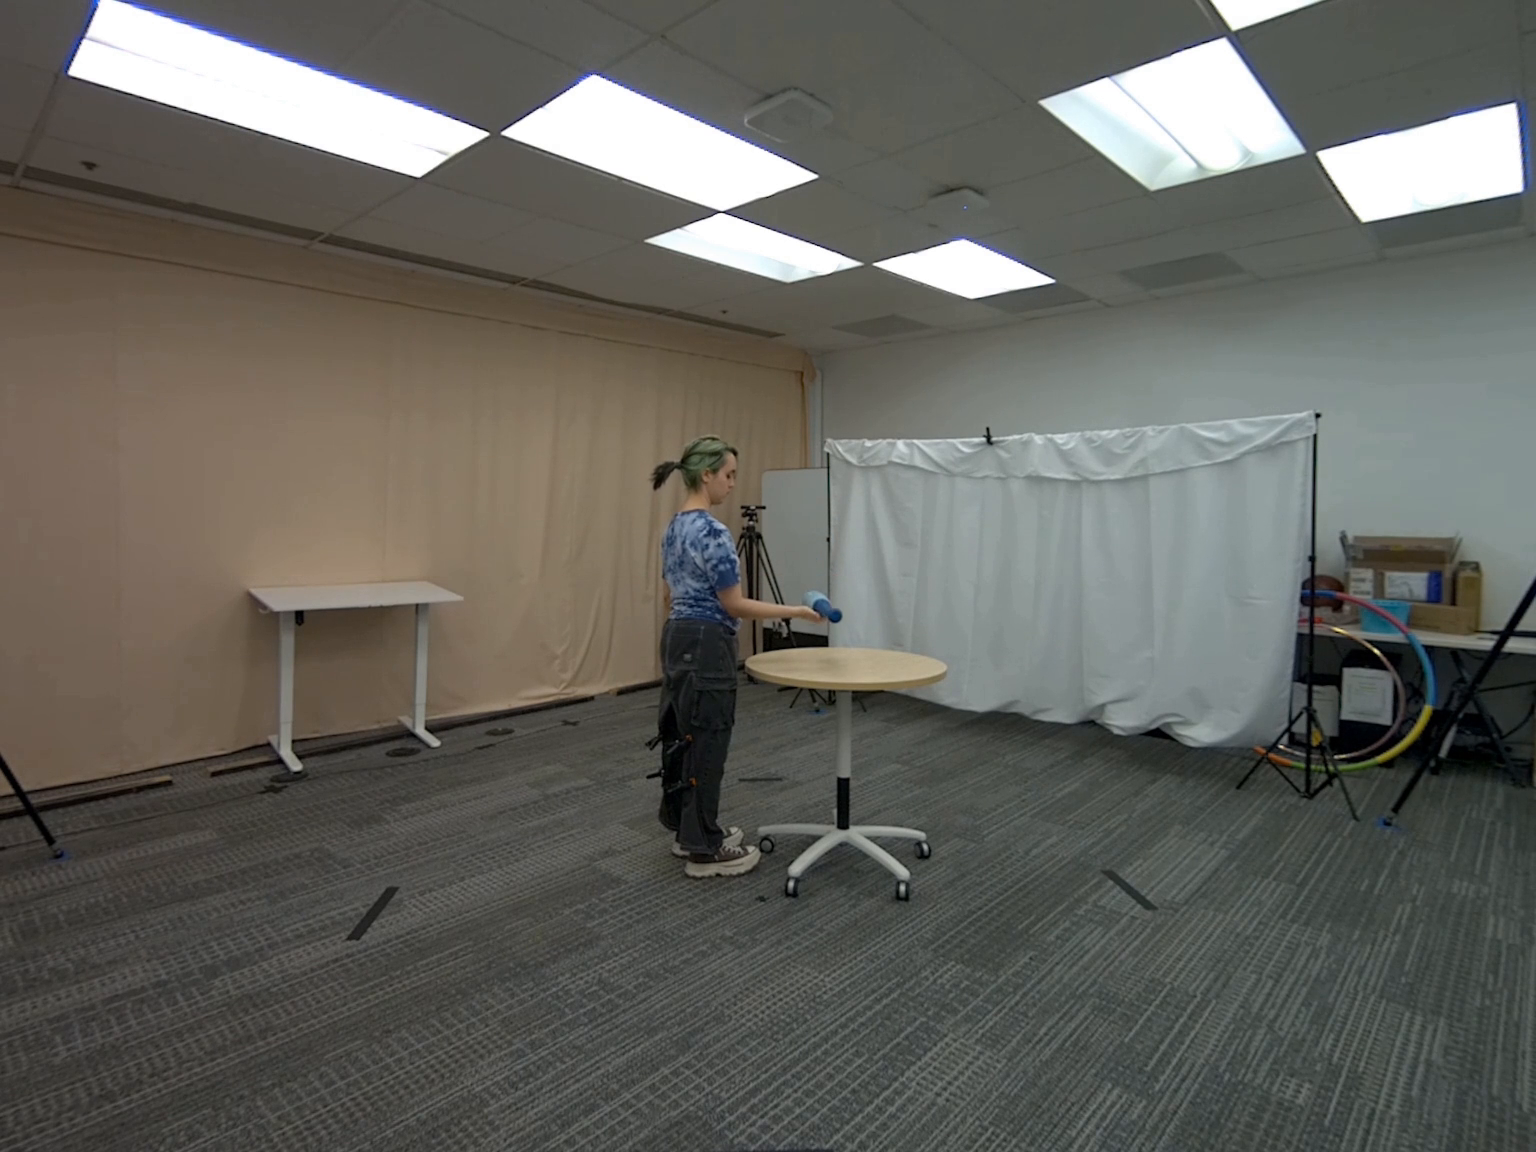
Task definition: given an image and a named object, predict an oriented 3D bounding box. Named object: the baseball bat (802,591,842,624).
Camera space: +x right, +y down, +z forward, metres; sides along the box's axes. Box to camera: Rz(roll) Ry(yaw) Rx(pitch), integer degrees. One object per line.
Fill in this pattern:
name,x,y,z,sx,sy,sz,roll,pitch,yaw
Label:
baseball bat,0.206,0.124,3.079,0.089,0.089,0.545,0,4,-3
